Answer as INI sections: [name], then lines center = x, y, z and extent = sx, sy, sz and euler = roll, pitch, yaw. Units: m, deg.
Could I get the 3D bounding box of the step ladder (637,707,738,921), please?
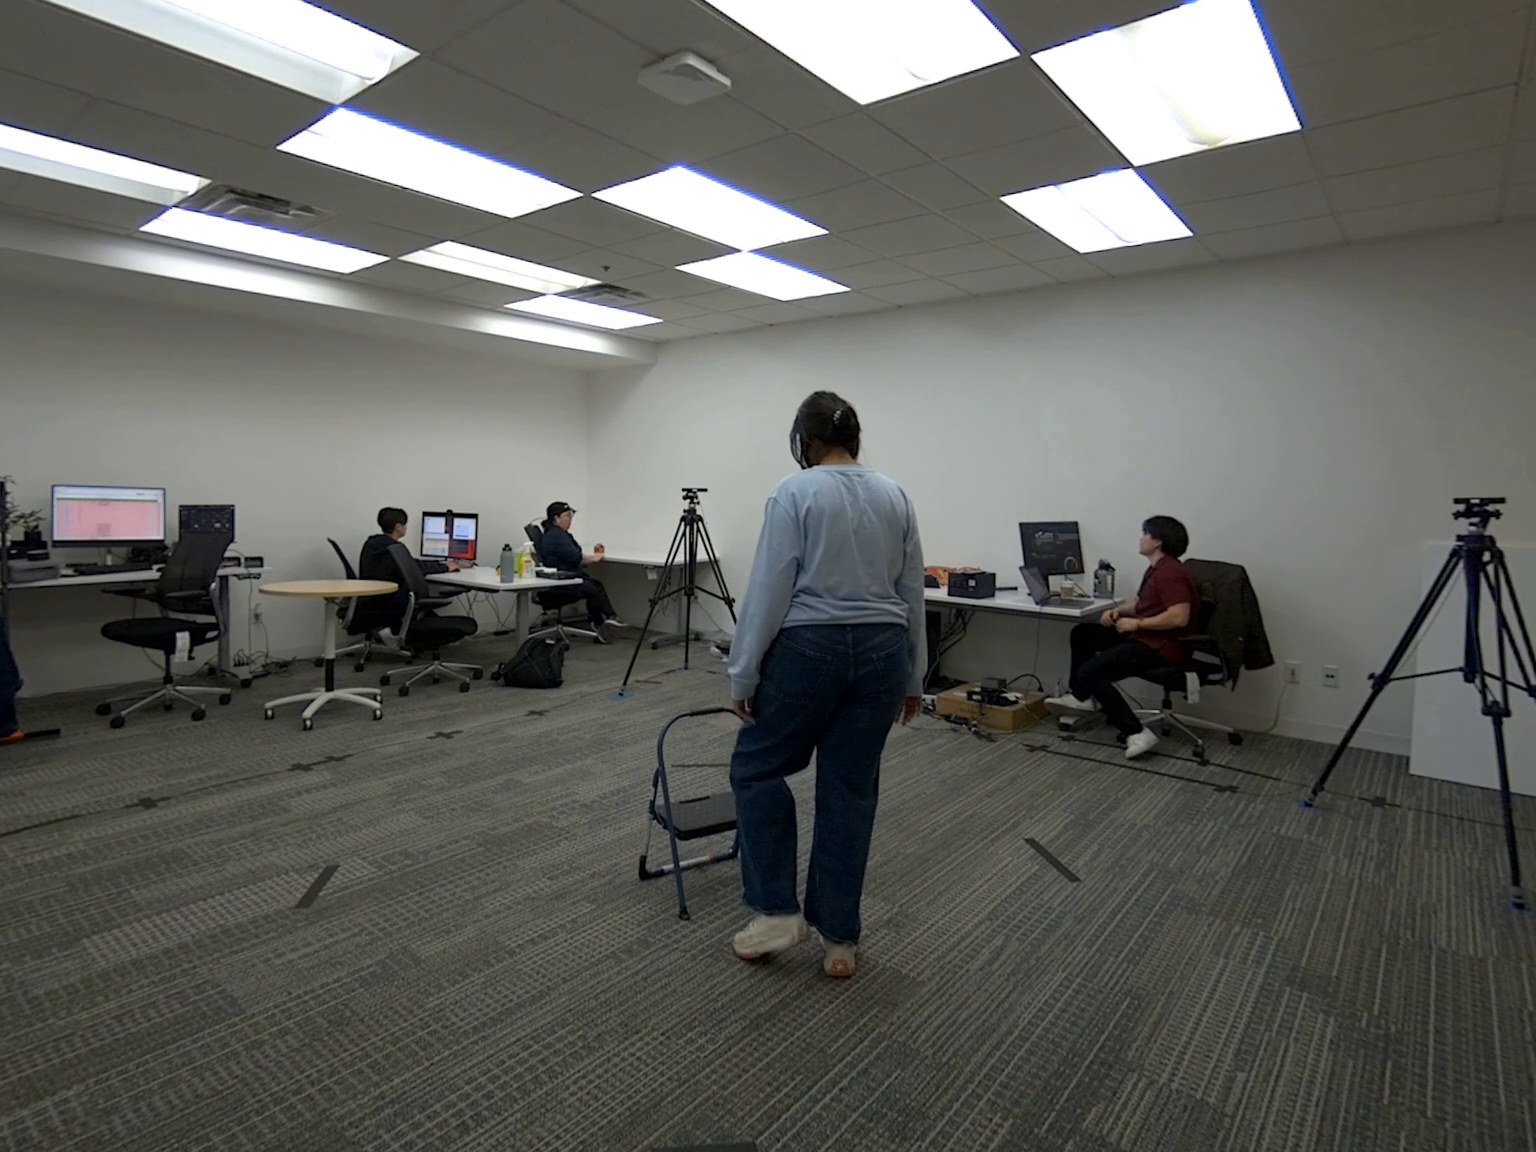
[step ladder]
center = -0.200, 0.781, 2.975
extent = 0.418, 0.604, 0.360
euler = -1, 4, -34
